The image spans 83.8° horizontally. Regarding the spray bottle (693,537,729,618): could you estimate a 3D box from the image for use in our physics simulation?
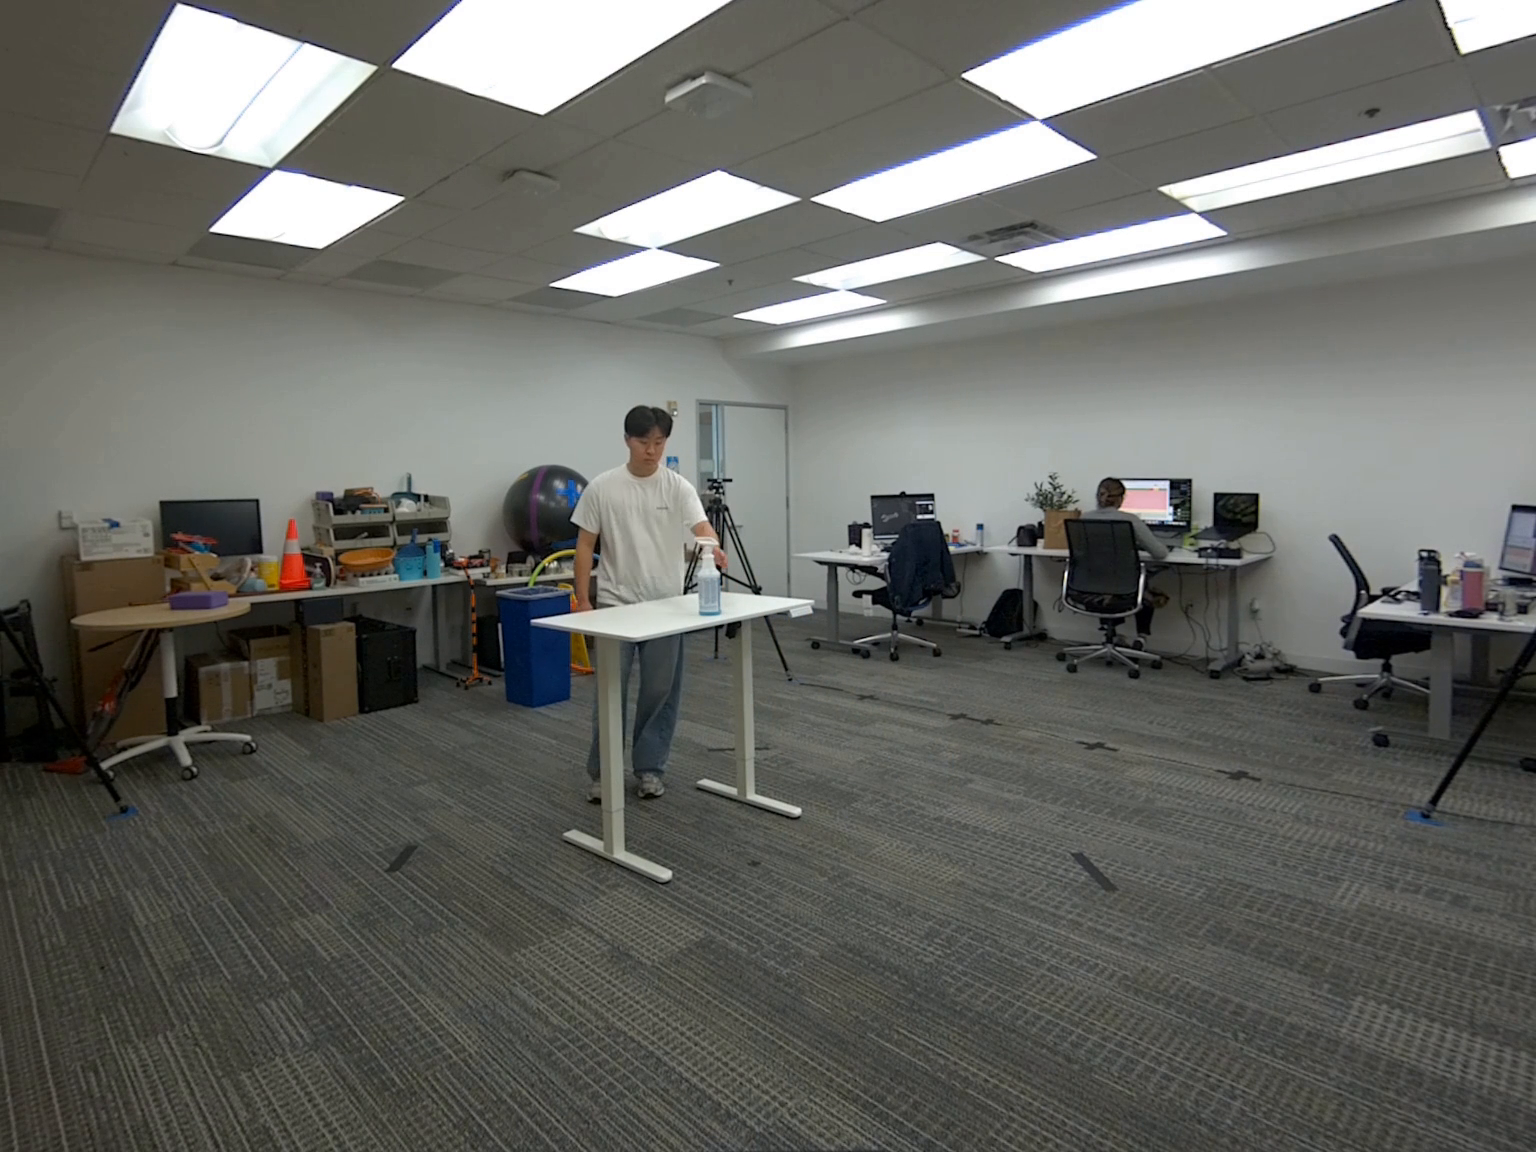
[{"bbox_3d":[-0.217,0.002,3.262,0.092,0.297,0.085,-1,2,29],"label":"spray bottle"}]
